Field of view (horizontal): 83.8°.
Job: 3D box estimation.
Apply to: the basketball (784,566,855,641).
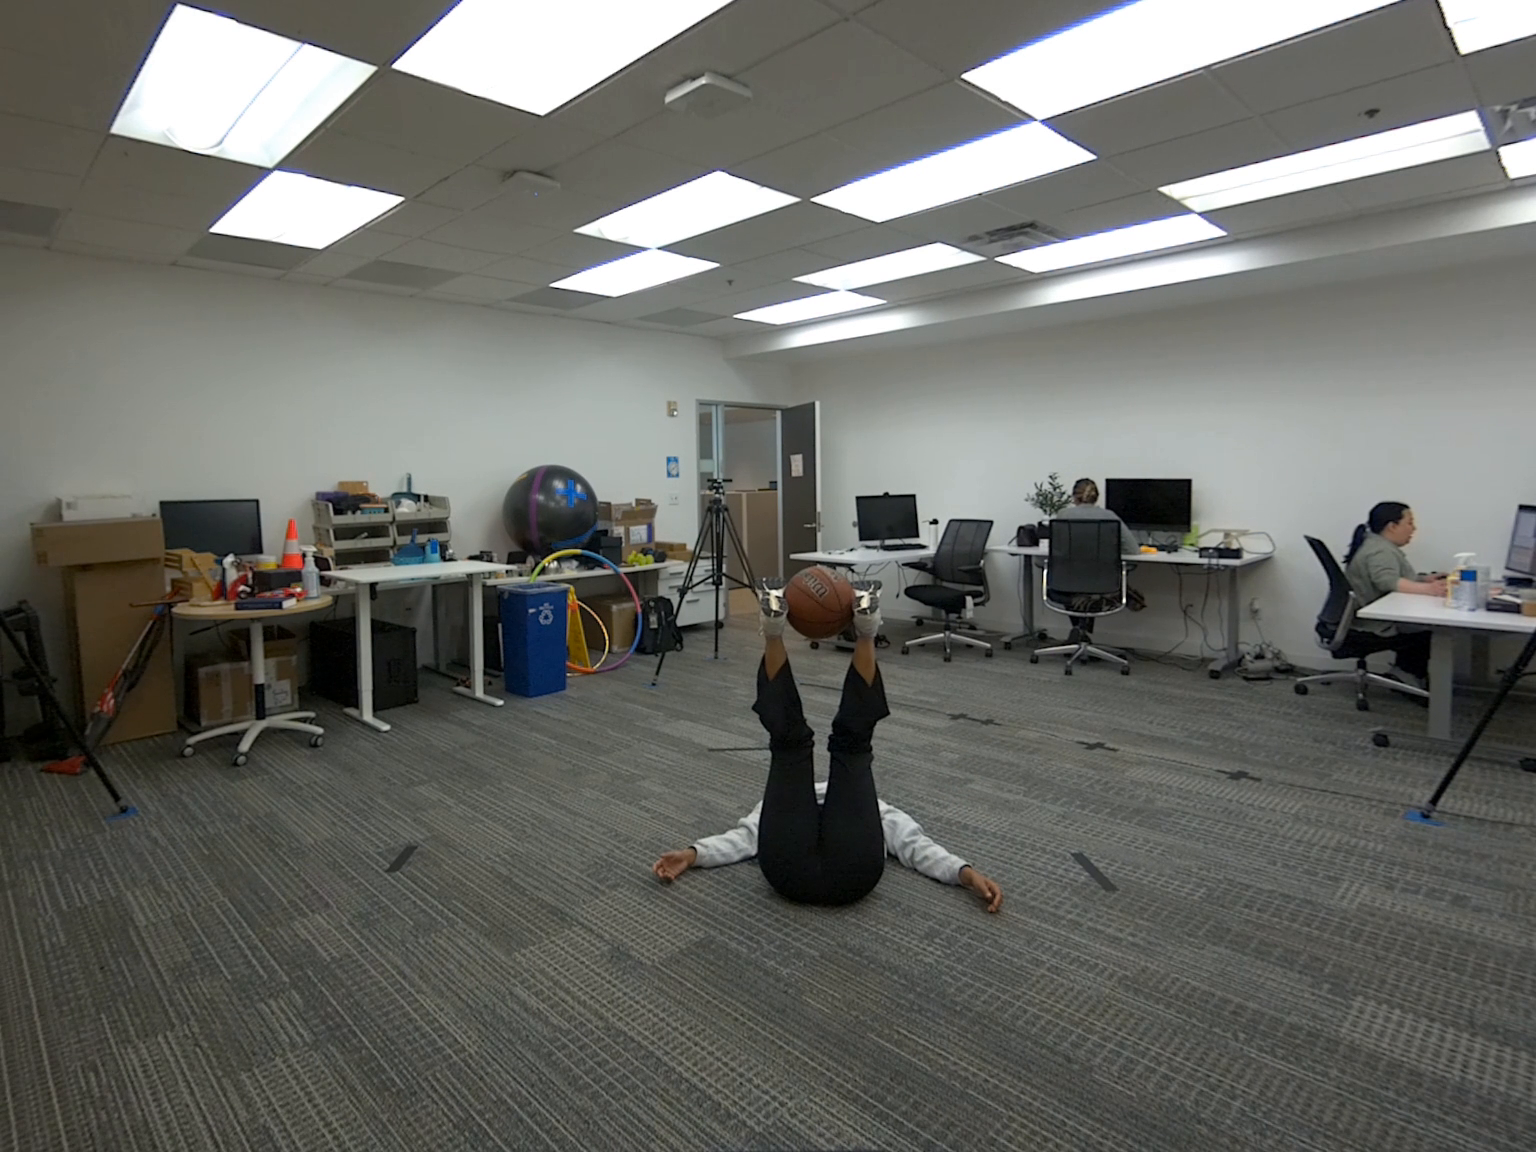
[{"bbox_3d":[0.176,0.090,2.801,0.236,0.235,0.236,-4,2,-2],"label":"basketball"}]
